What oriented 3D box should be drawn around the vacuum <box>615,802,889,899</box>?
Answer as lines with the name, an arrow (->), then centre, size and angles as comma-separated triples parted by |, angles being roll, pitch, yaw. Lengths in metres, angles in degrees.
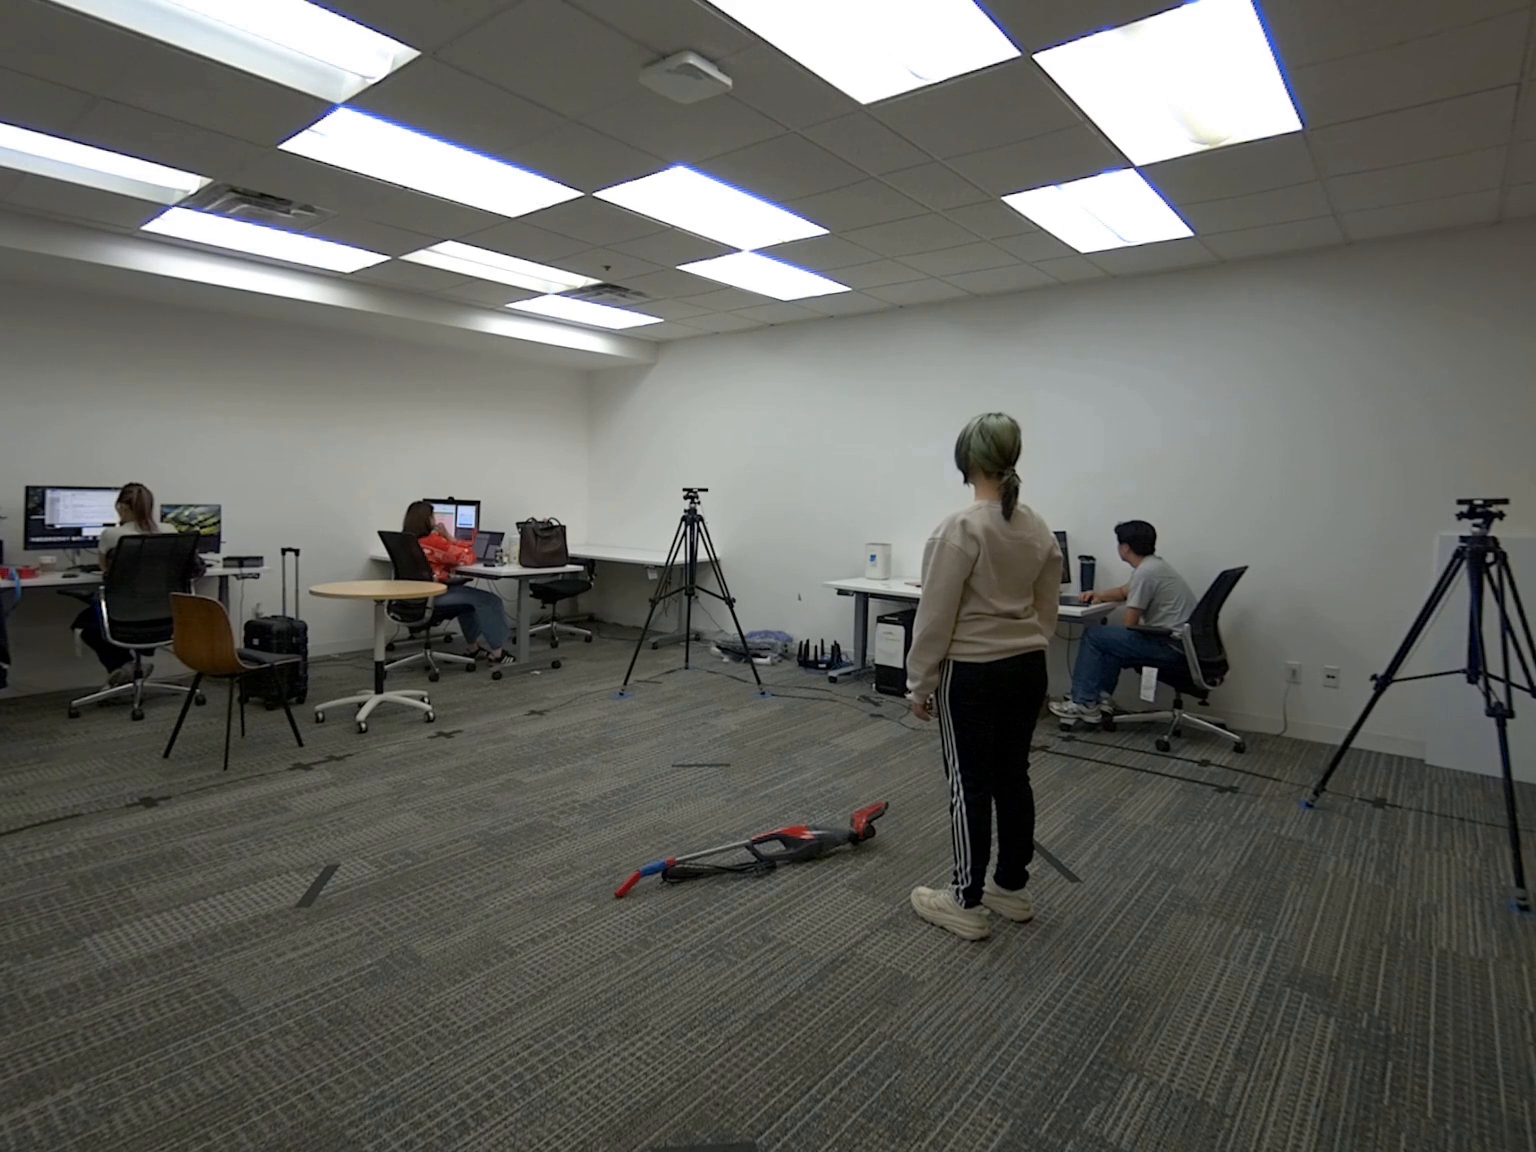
vacuum -> -0.062, 1.024, 3.121 | 1.025, 0.148, 0.252 | -7, -24, -27
